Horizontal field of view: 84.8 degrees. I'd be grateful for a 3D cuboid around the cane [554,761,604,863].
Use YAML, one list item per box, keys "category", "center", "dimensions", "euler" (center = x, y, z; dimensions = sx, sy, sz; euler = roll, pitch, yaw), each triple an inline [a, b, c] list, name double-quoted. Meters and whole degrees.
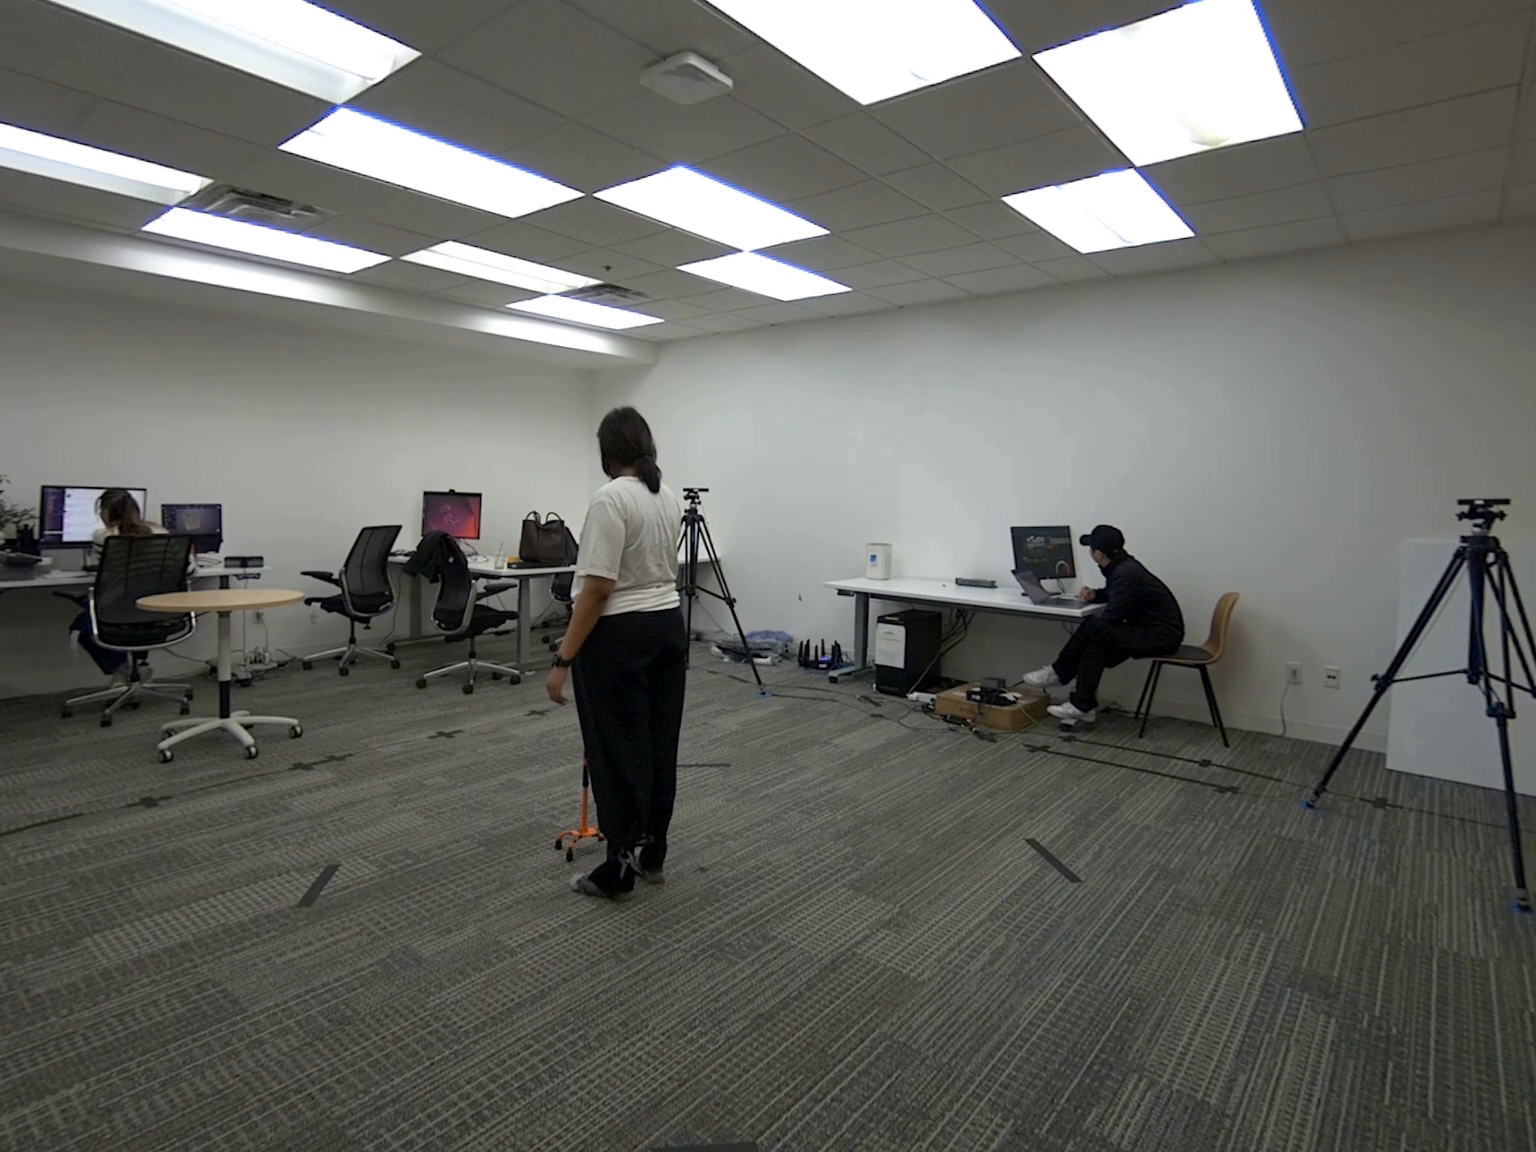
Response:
- category: "cane"
  center: [-0.696, 0.588, 3.259]
  dimensions: [0.201, 0.909, 0.156]
  euler: [2, -1, -30]
